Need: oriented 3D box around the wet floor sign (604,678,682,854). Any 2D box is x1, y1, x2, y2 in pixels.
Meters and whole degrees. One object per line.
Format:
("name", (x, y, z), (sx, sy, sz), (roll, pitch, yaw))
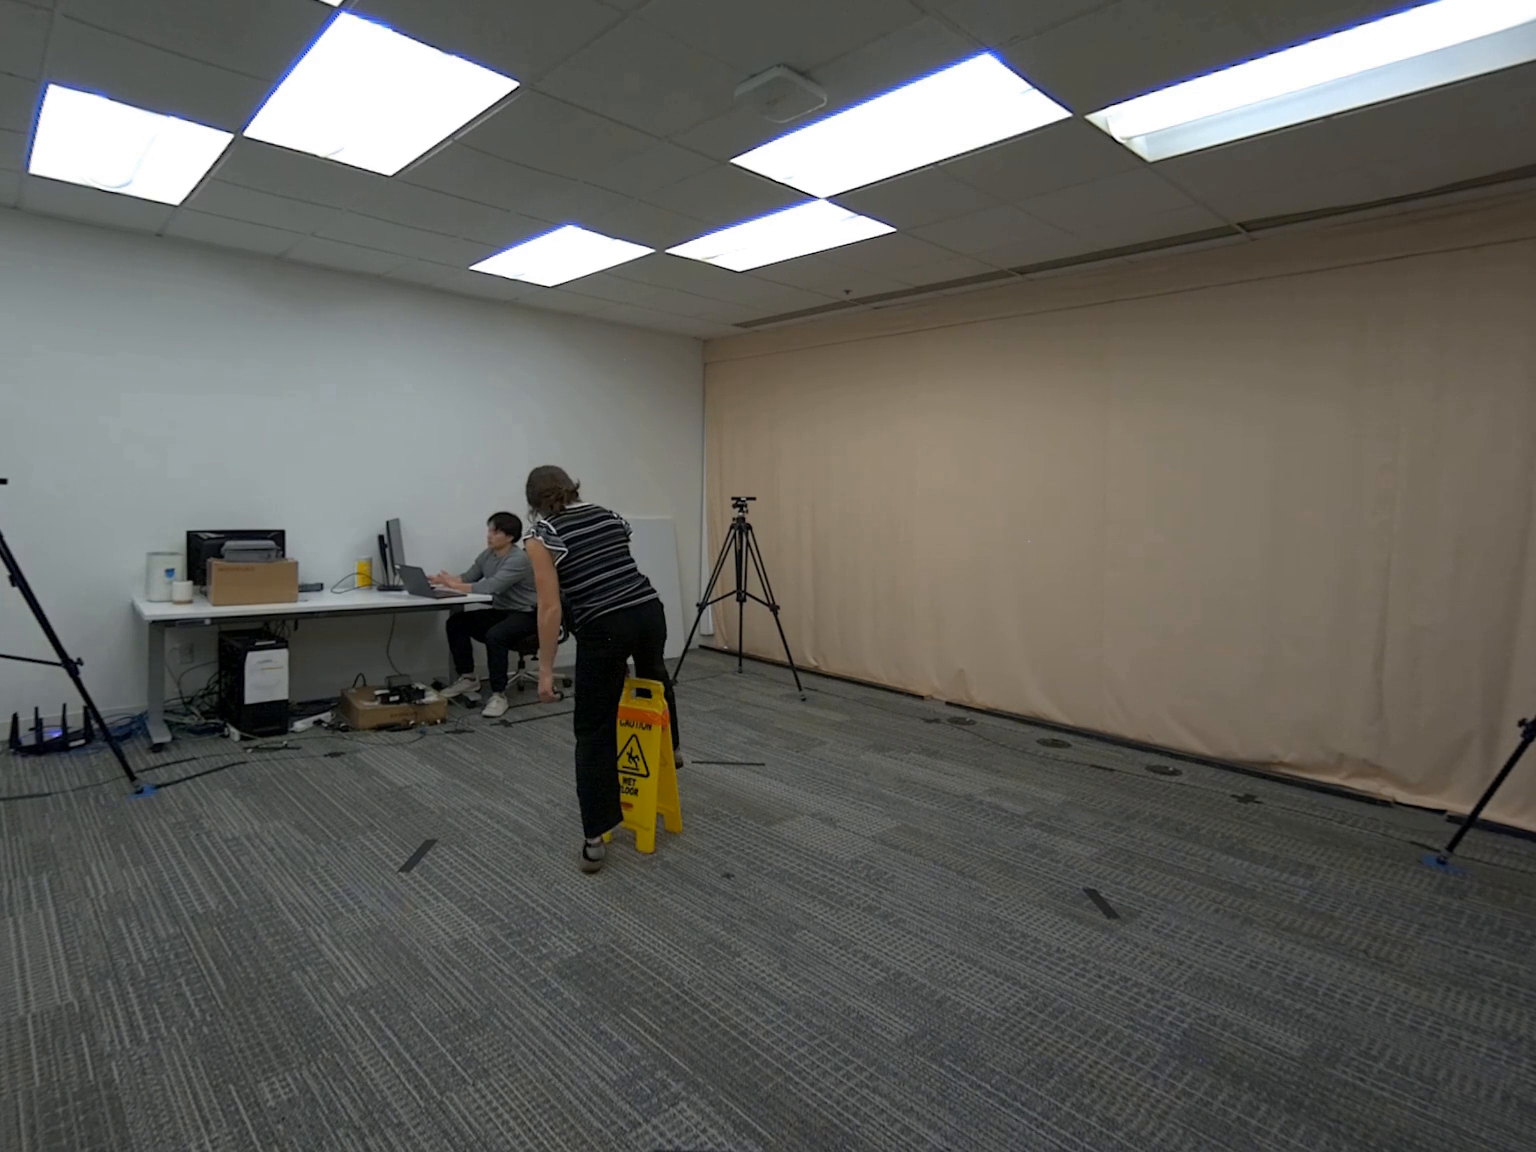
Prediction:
("wet floor sign", (-0.529, 0.747, 3.440), (0.287, 0.645, 0.285), (3, 2, 23))
